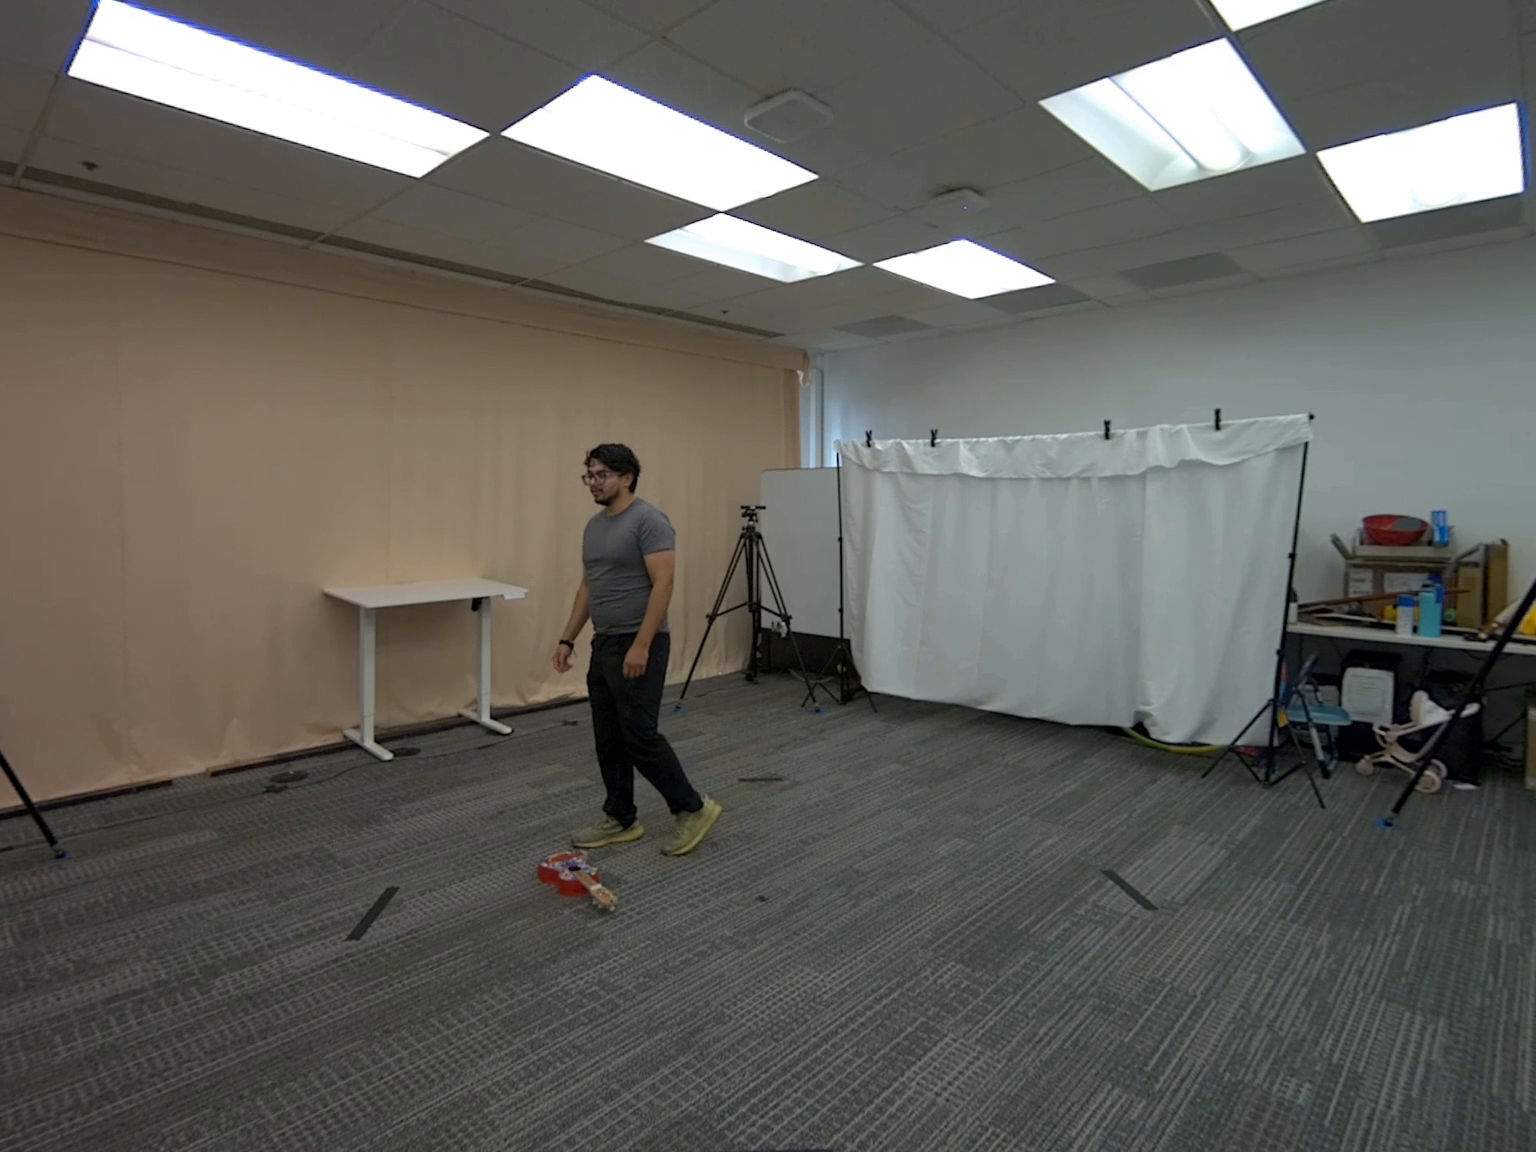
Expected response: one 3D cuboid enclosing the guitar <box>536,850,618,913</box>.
[{"bbox_3d":[-0.696,1.110,3.035,0.188,0.070,0.511,-2,5,-25],"label":"guitar"}]
